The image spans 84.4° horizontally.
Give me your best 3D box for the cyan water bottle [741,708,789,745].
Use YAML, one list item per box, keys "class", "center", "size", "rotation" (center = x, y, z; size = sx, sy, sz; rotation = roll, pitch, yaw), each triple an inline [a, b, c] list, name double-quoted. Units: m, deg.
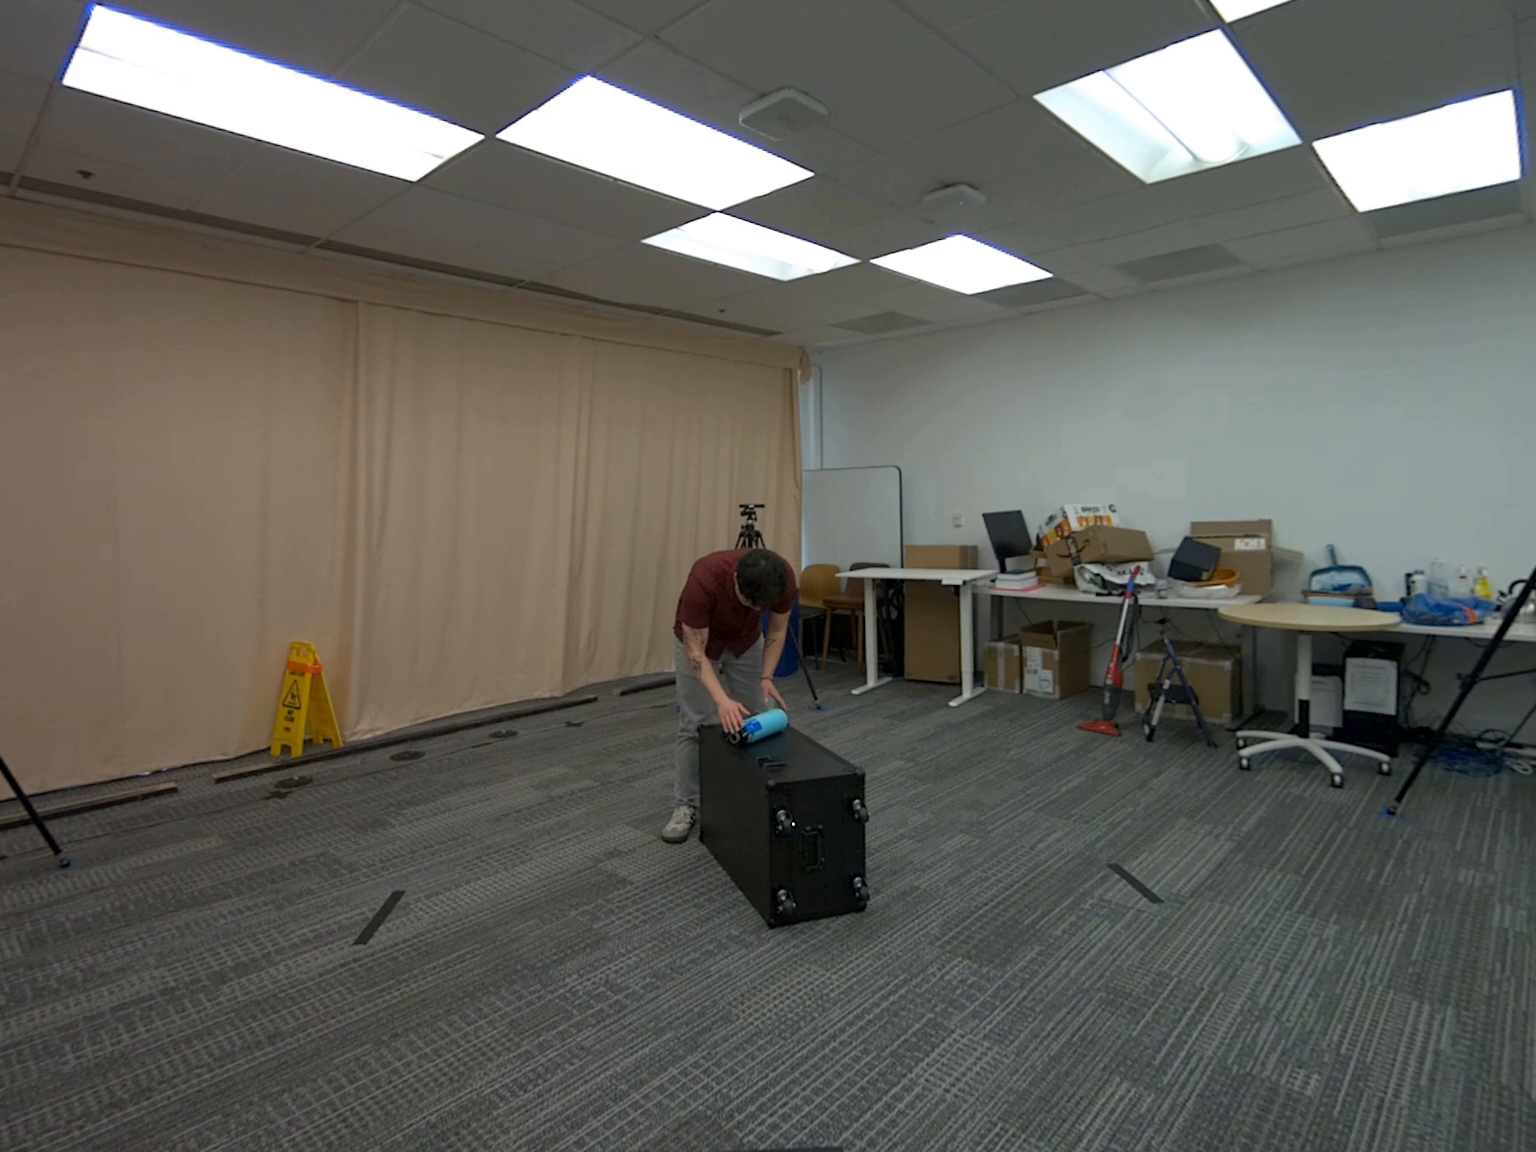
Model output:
- class: "cyan water bottle"
  center: [-0.035, 0.582, 3.272]
  size: [0.095, 0.092, 0.275]
  rotation: [2, 6, 36]
